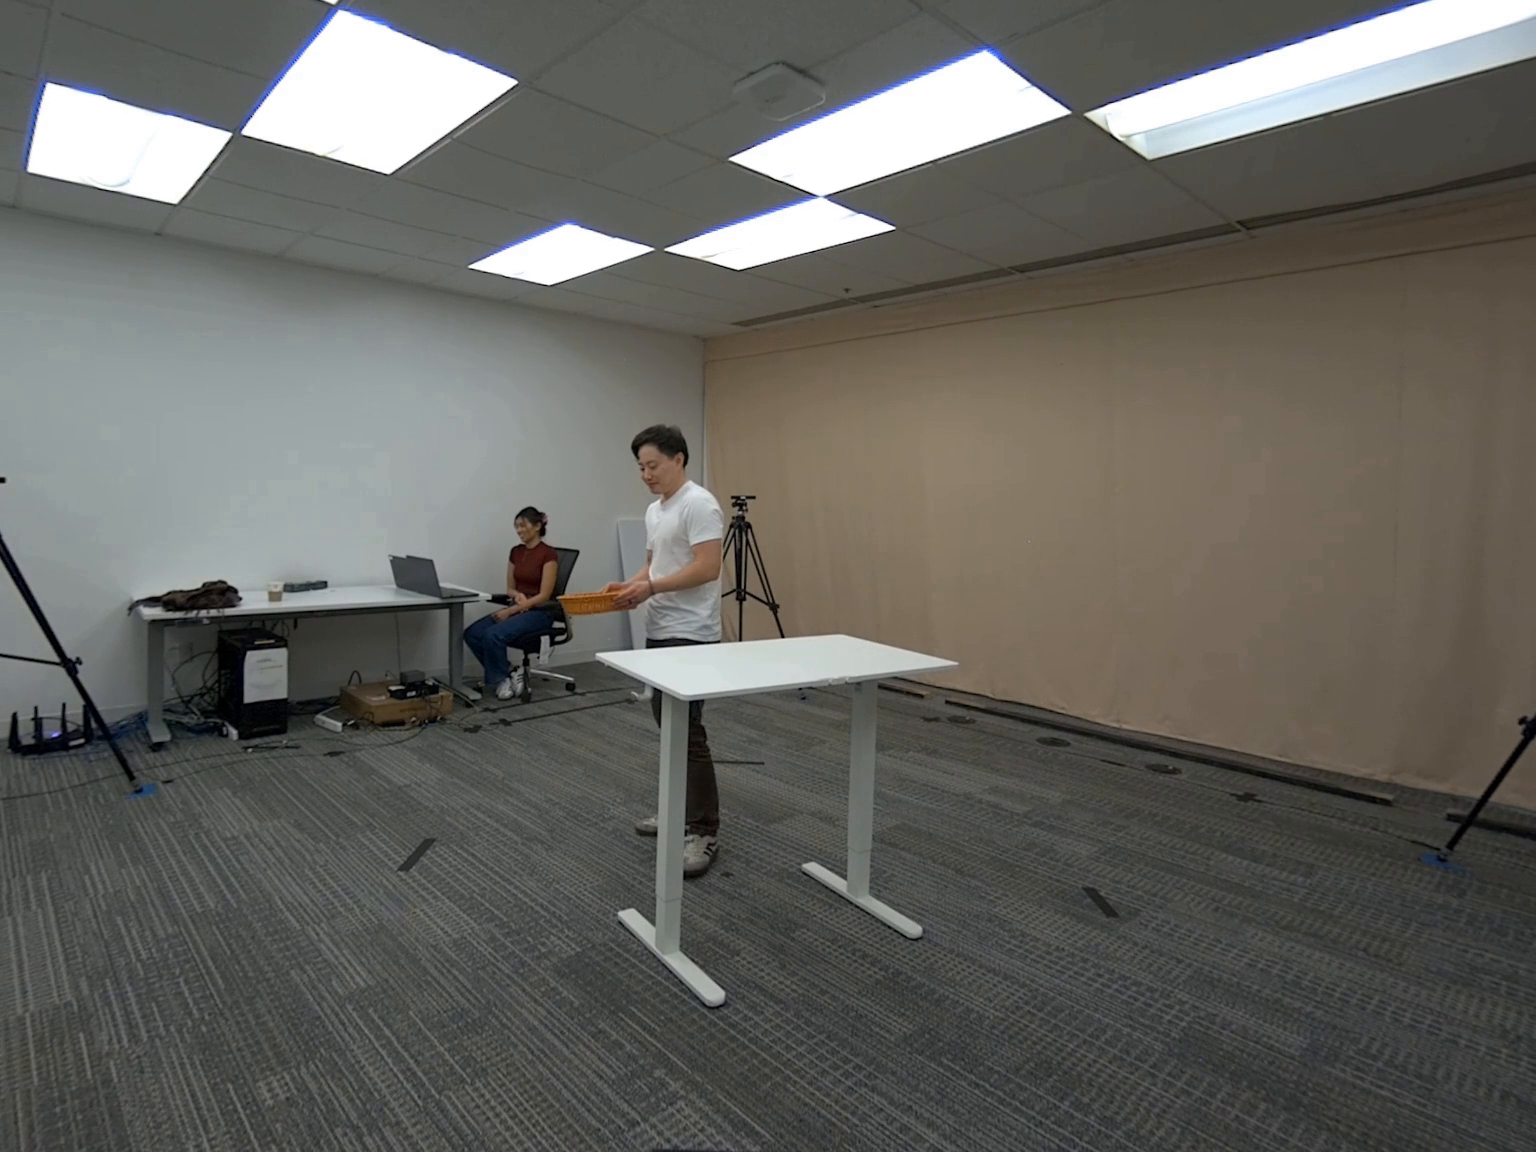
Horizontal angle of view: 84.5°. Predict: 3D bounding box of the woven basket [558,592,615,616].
[{"bbox_3d":[-0.663,0.103,3.253,0.346,0.073,0.256,-5,4,-18],"label":"woven basket"}]
